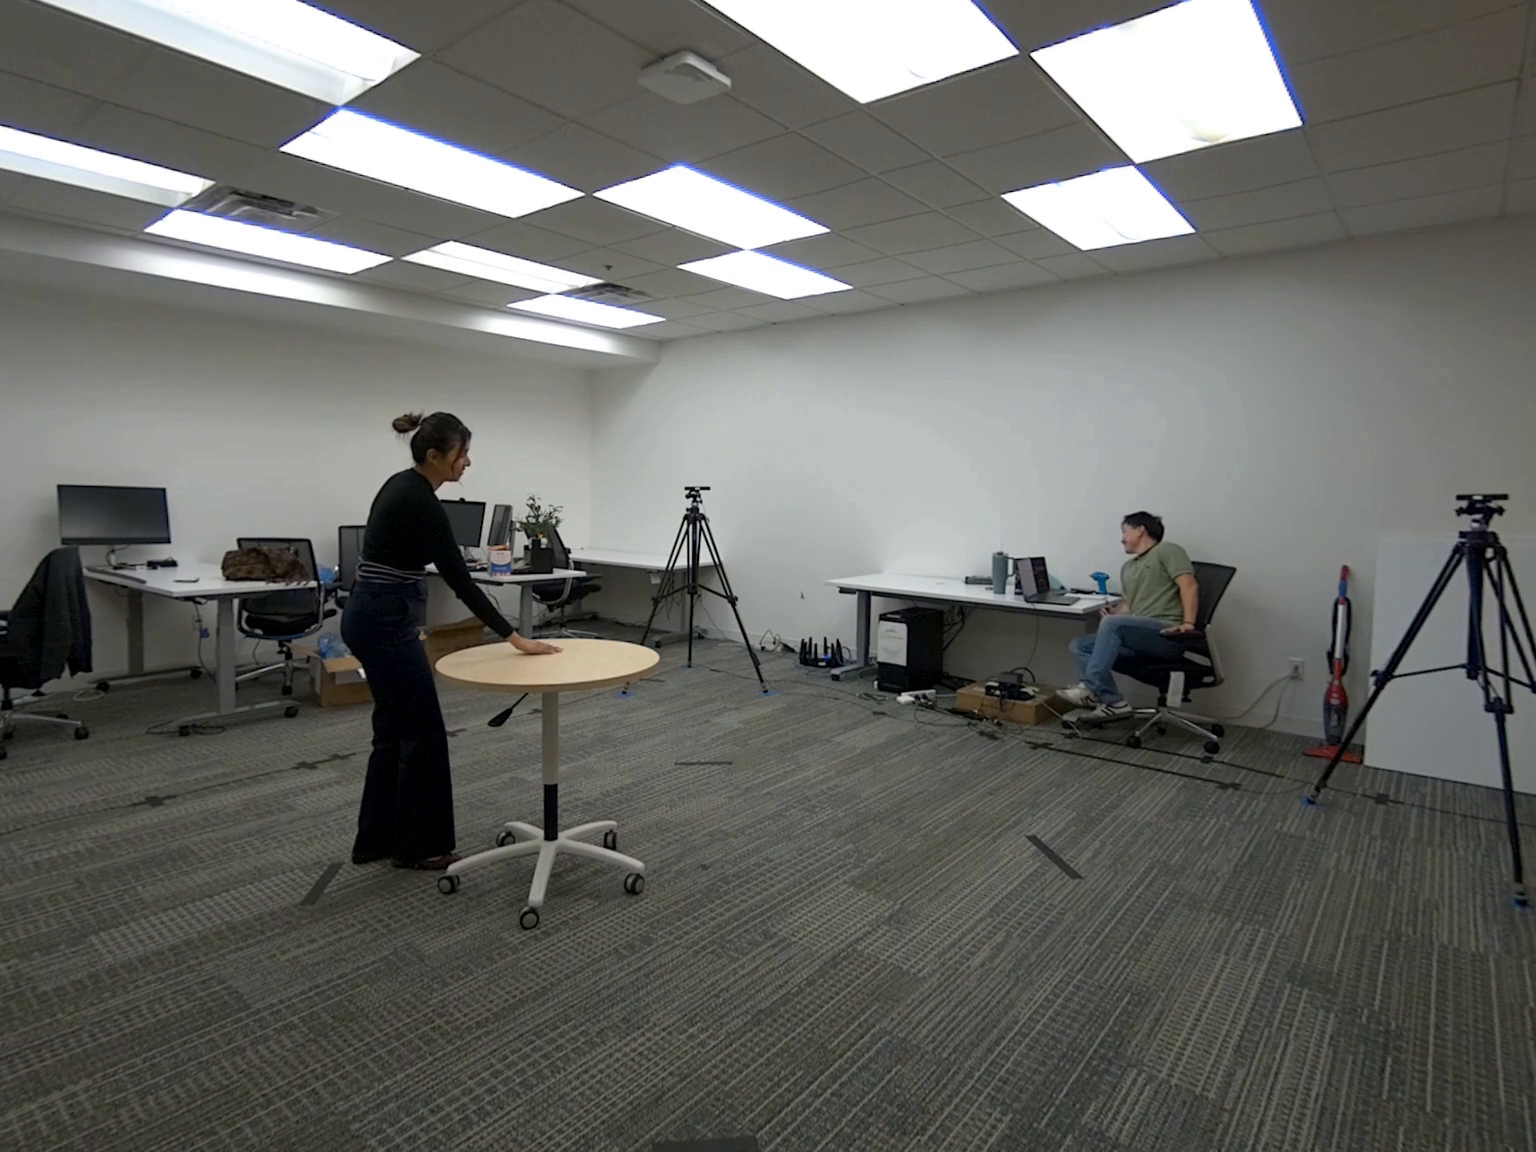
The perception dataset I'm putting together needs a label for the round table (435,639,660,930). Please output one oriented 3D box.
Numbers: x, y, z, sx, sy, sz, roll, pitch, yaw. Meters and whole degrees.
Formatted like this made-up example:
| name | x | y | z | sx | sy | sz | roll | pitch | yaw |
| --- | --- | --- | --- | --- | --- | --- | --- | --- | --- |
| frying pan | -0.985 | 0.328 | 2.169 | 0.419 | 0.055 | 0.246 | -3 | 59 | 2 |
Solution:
| name | x | y | z | sx | sy | sz | roll | pitch | yaw |
| --- | --- | --- | --- | --- | --- | --- | --- | --- | --- |
| round table | -0.776 | 0.681 | 2.997 | 0.763 | 0.791 | 0.768 | 0 | 4 | -2 |
